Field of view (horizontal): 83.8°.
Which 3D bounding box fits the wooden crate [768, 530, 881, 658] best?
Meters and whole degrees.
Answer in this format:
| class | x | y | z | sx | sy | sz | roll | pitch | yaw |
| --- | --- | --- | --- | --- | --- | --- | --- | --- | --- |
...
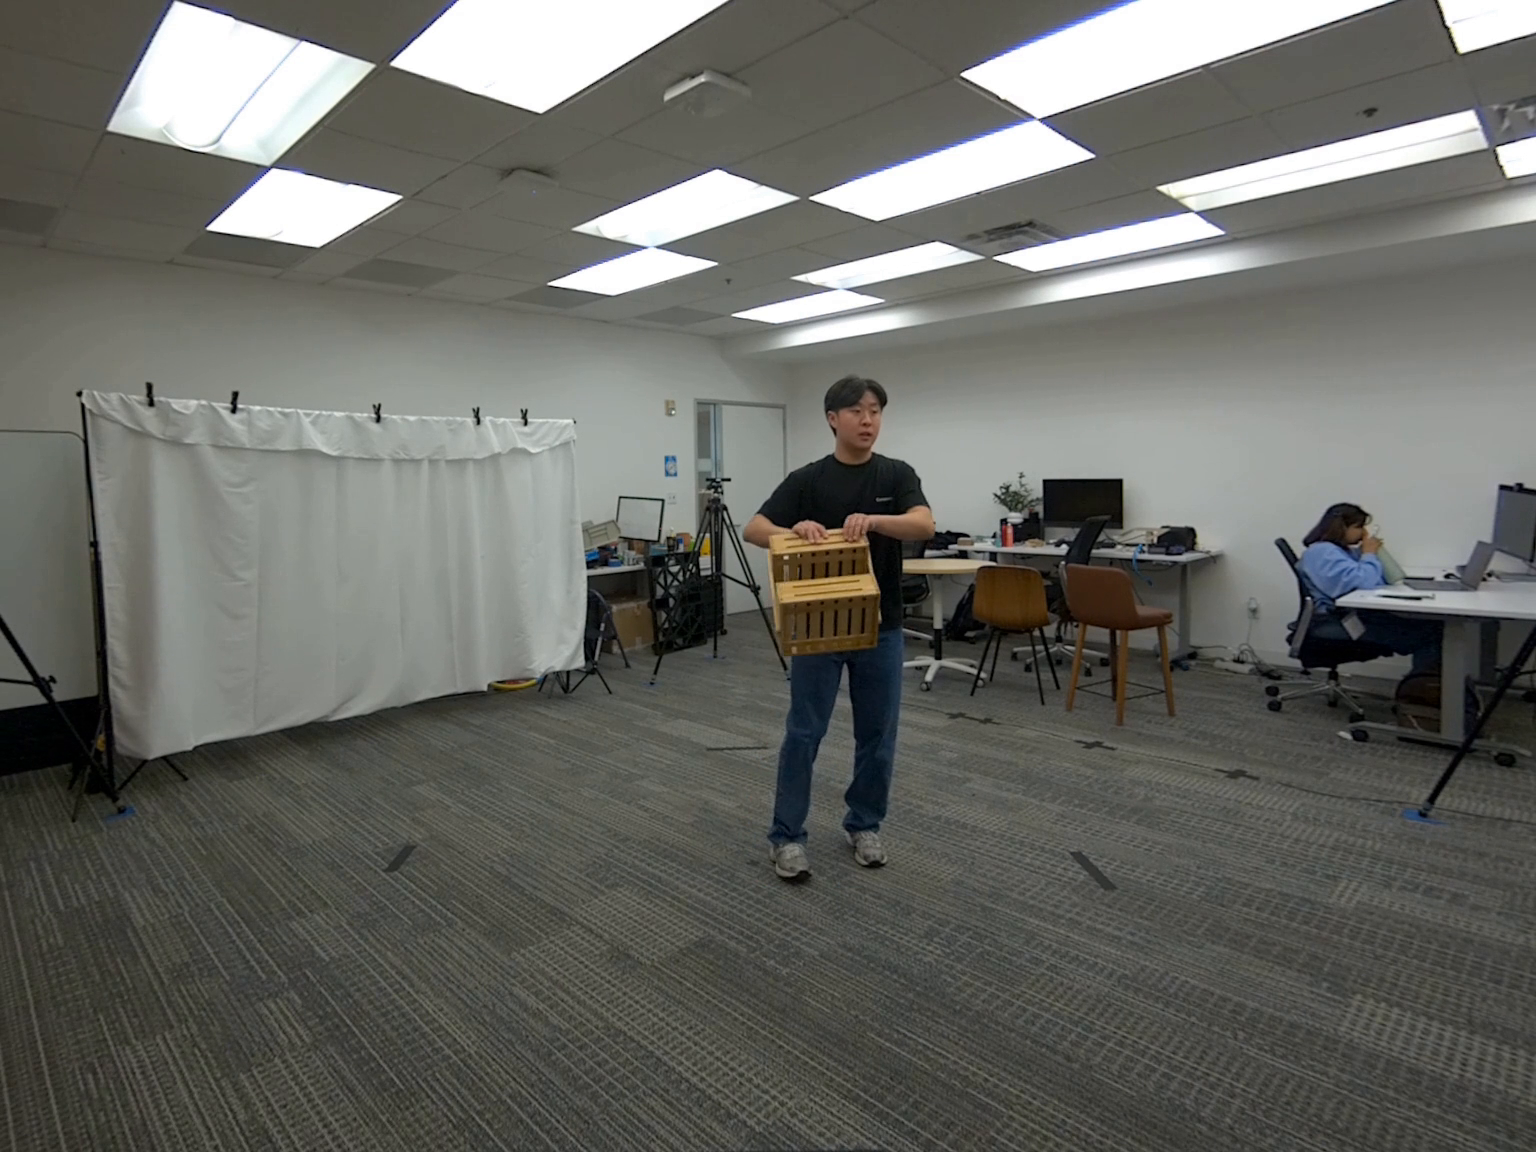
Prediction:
| class | x | y | z | sx | sy | sz | roll | pitch | yaw |
| --- | --- | --- | --- | --- | --- | --- | --- | --- | --- |
| wooden crate | 0.171 | 0.065 | 2.693 | 0.324 | 0.293 | 0.282 | -6 | 39 | -3 |
